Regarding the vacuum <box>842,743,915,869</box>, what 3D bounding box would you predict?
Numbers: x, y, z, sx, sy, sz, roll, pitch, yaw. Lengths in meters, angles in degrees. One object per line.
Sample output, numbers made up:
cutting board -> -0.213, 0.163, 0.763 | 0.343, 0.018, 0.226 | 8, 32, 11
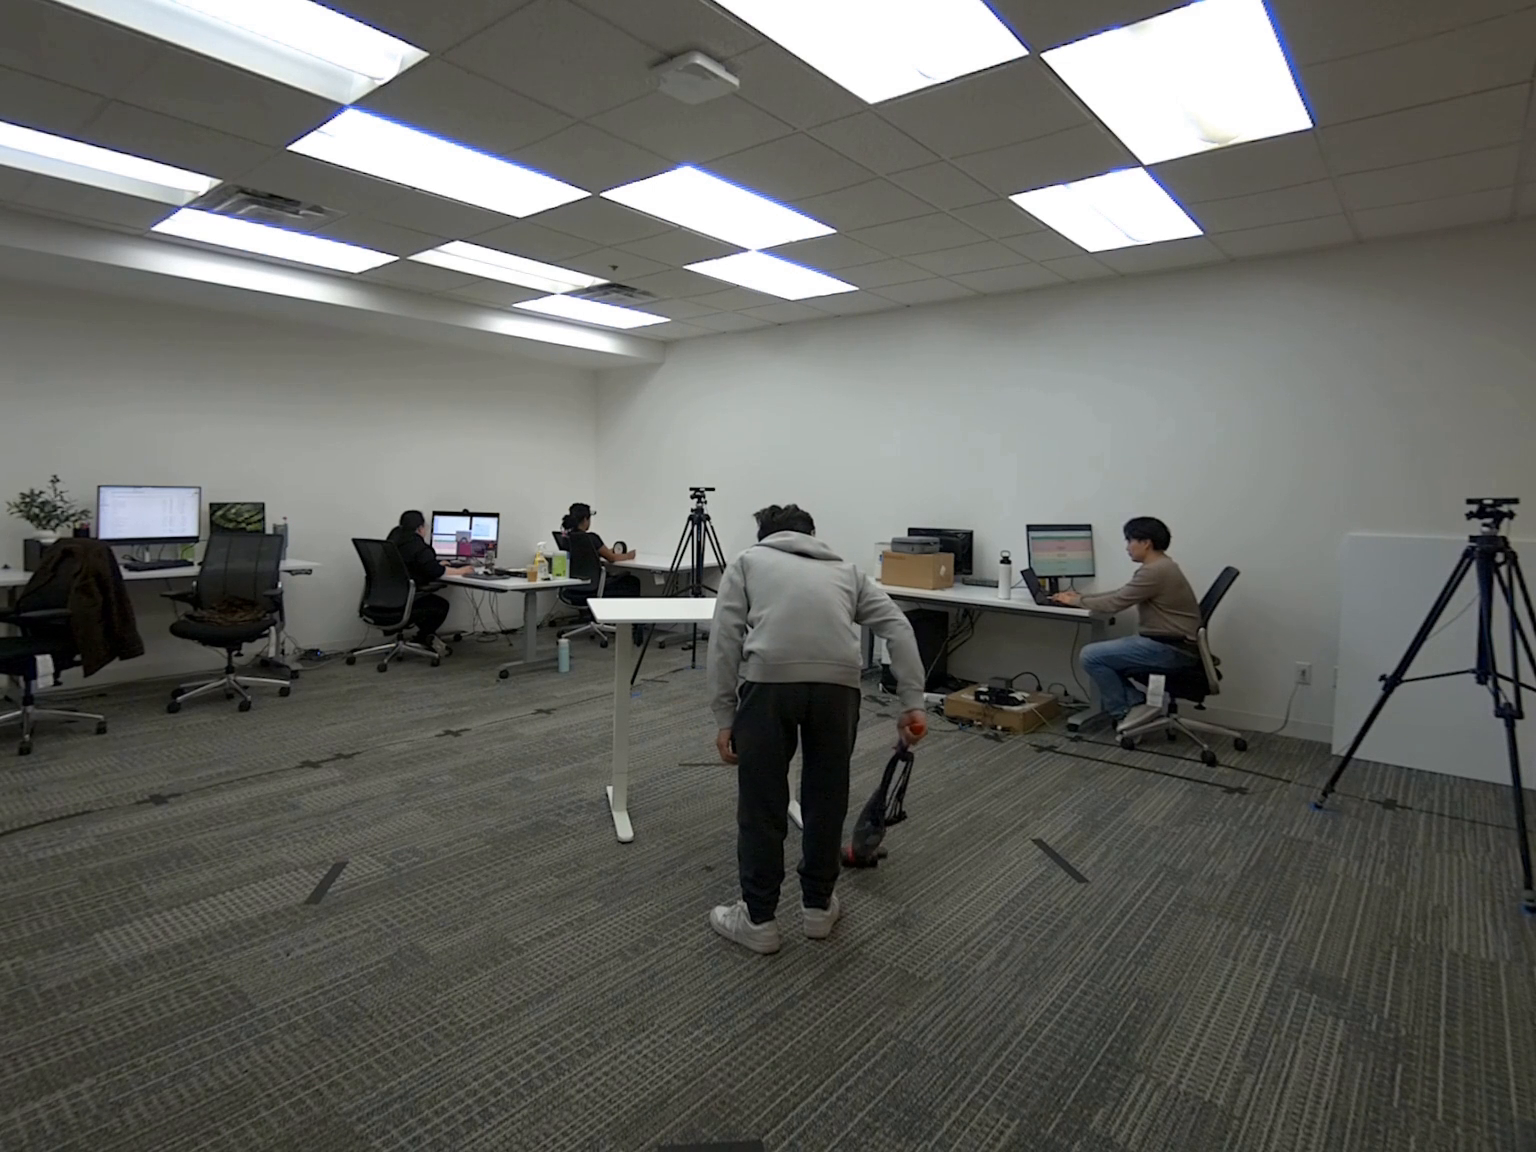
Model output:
vacuum -> 0.375, 0.749, 2.835 | 0.251, 0.148, 1.023 | 0, -36, -5
